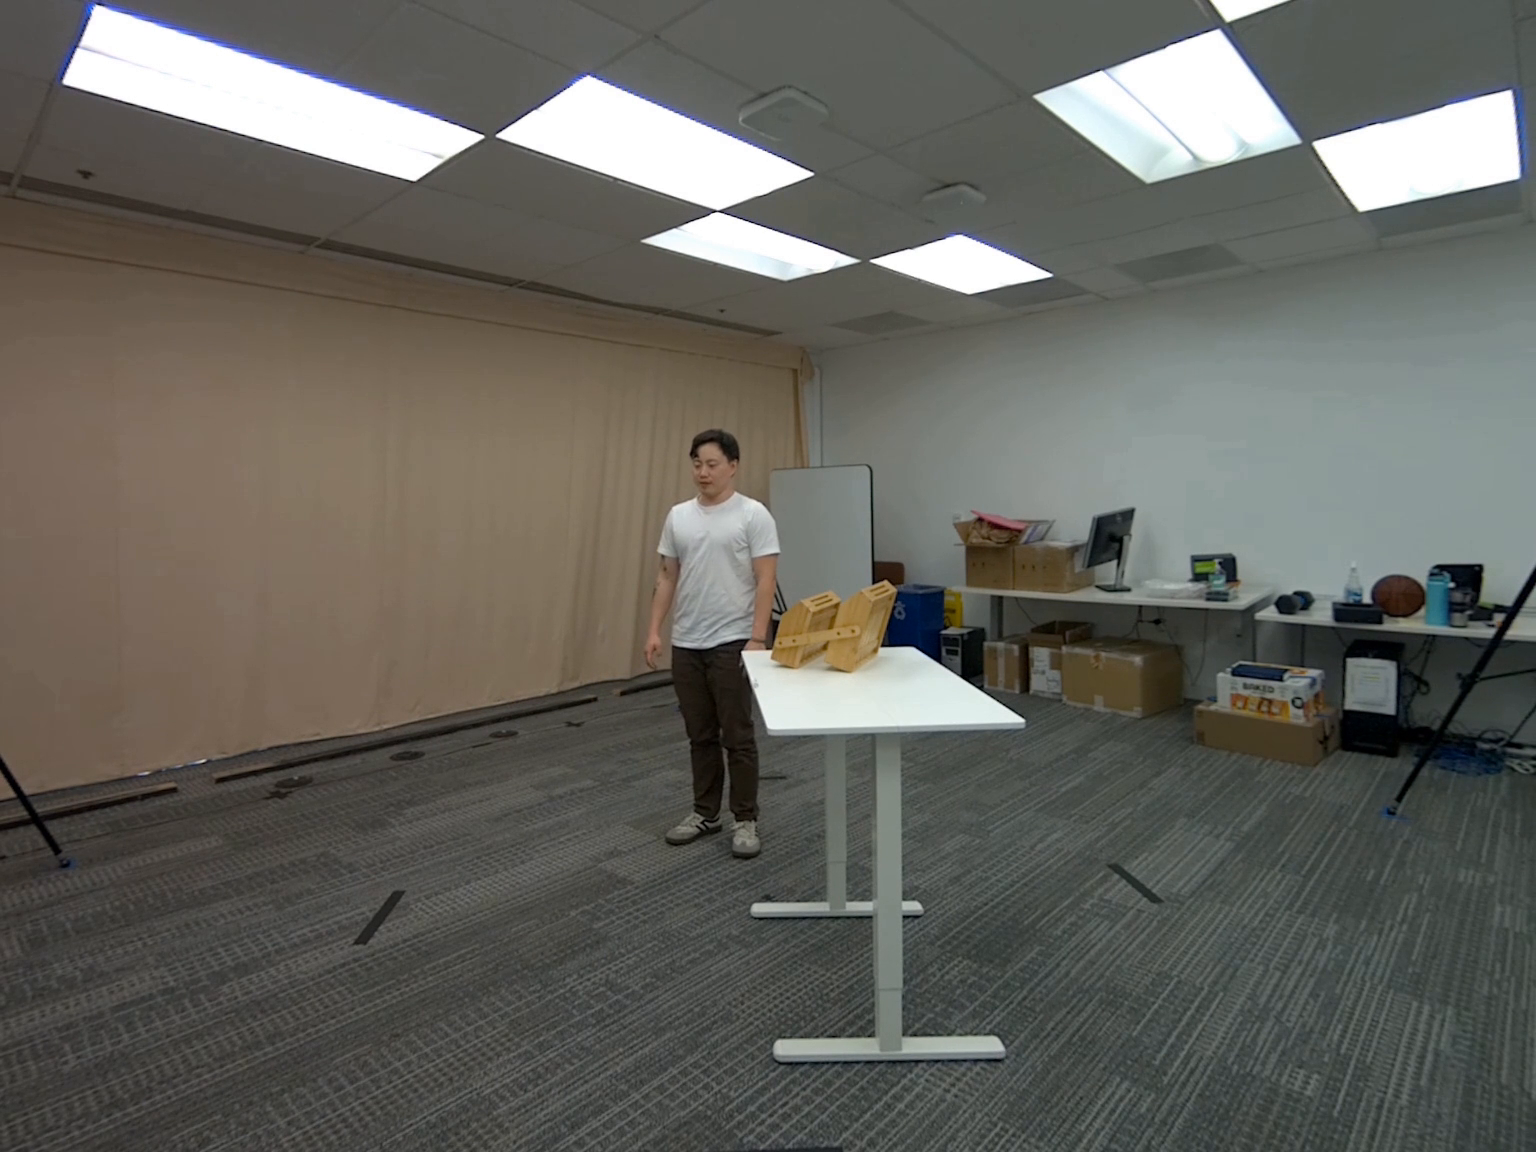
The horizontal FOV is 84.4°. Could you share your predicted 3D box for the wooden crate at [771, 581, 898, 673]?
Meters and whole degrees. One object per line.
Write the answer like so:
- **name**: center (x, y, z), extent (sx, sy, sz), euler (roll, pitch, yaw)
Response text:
- **wooden crate**: center (0.218, 0.144, 2.690), extent (0.280, 0.301, 0.317), euler (19, 11, 21)
